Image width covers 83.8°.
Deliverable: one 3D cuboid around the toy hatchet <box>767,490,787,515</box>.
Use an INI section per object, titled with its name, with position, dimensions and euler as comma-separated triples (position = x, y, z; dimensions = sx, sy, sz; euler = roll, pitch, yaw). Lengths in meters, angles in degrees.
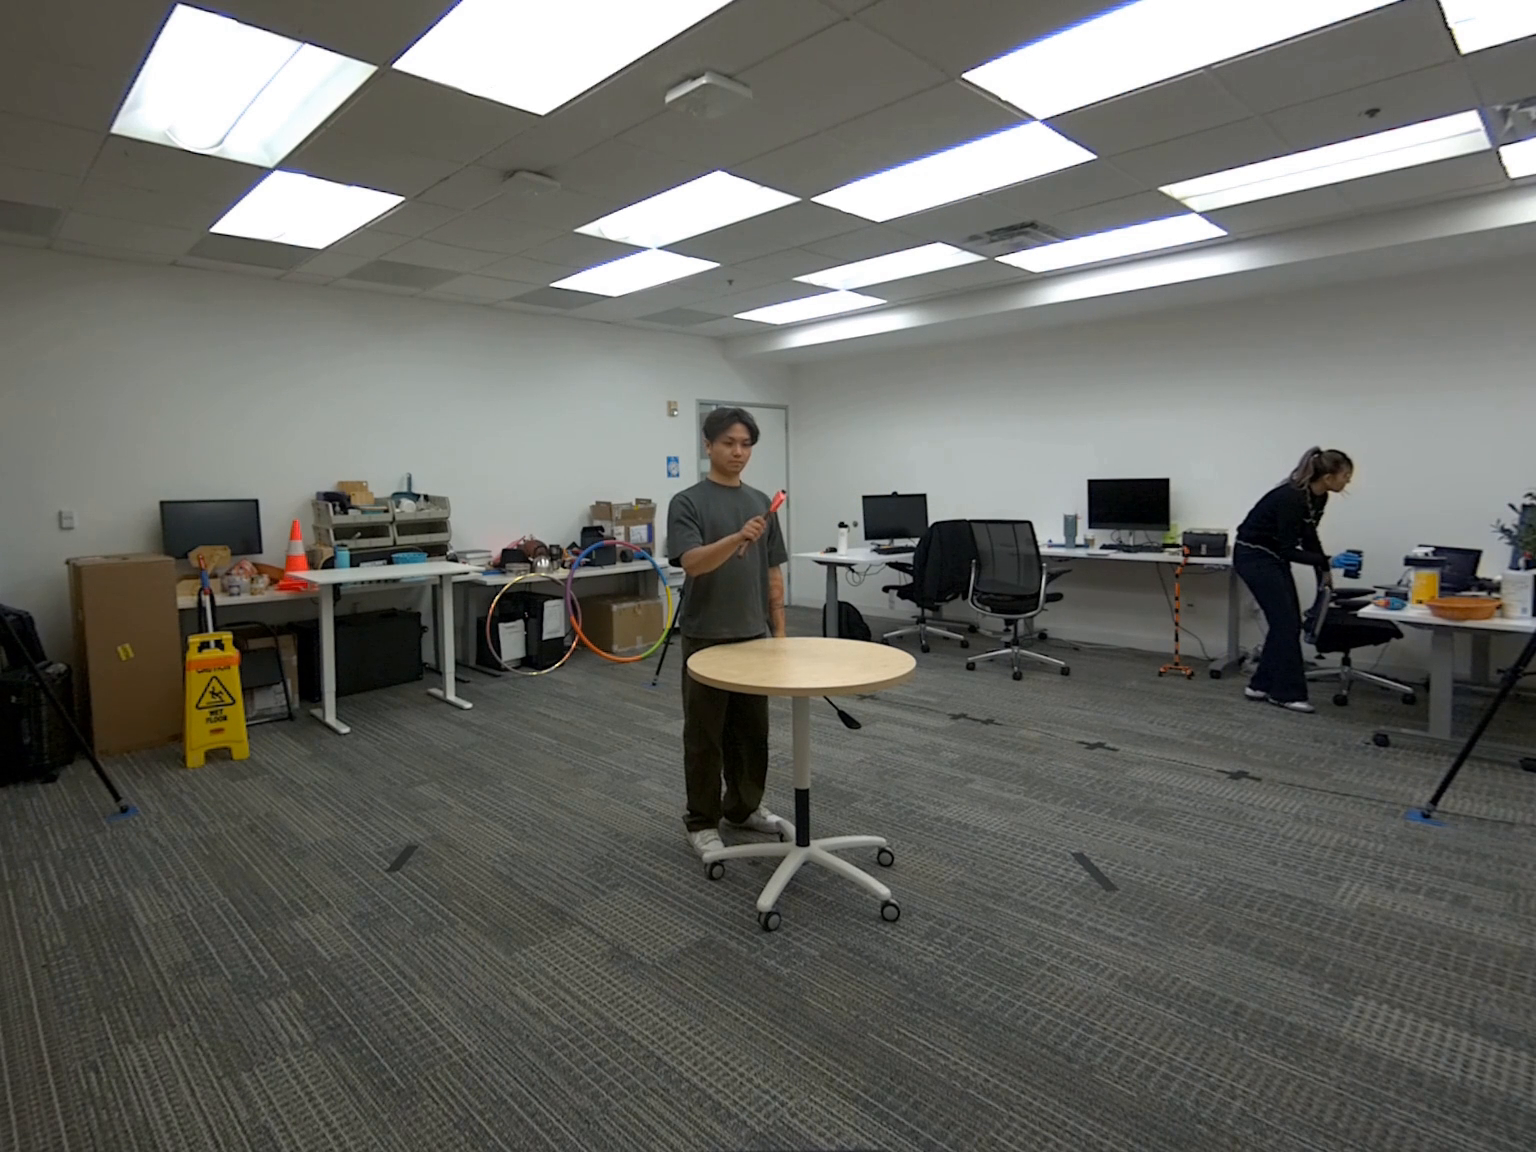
[toy hatchet]
position = -0.018, -0.176, 2.837
dimensions = 0.029, 0.271, 0.133
euler = 35, -12, -14
